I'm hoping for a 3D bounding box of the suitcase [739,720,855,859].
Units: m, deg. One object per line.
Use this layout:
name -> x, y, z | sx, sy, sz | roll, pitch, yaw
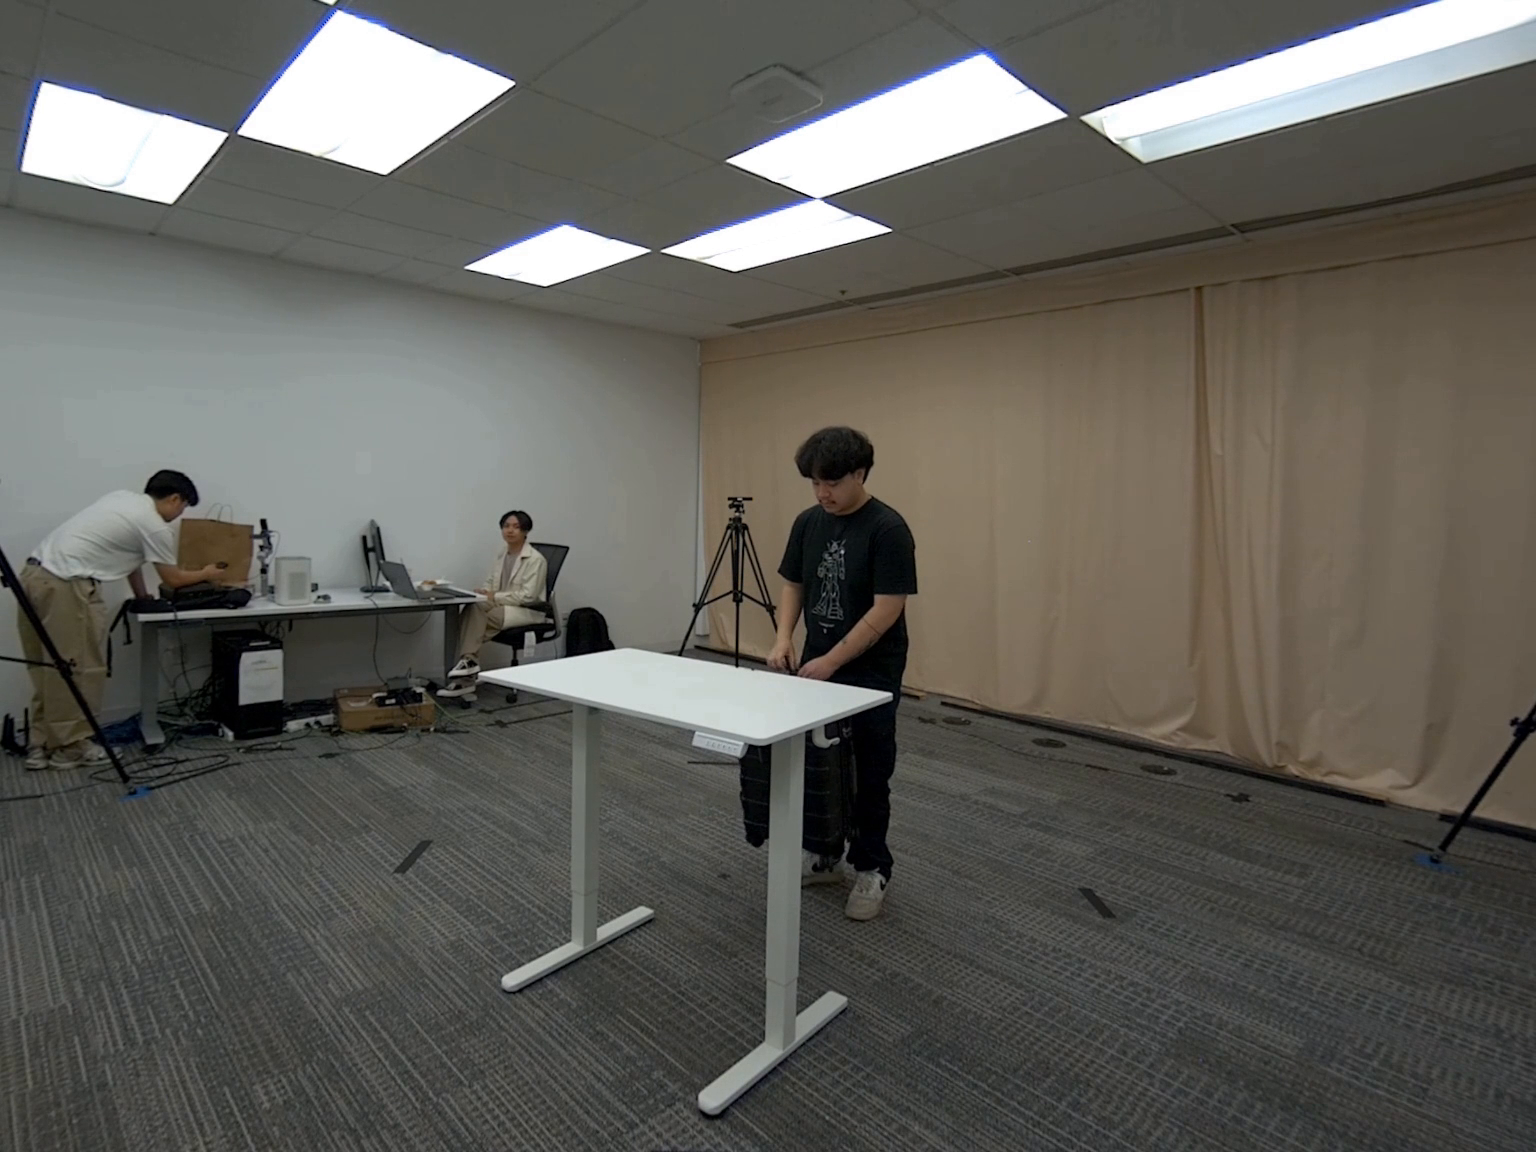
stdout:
suitcase -> 0.092, 0.653, 2.828 | 0.384, 0.545, 0.245 | 2, 12, 32
